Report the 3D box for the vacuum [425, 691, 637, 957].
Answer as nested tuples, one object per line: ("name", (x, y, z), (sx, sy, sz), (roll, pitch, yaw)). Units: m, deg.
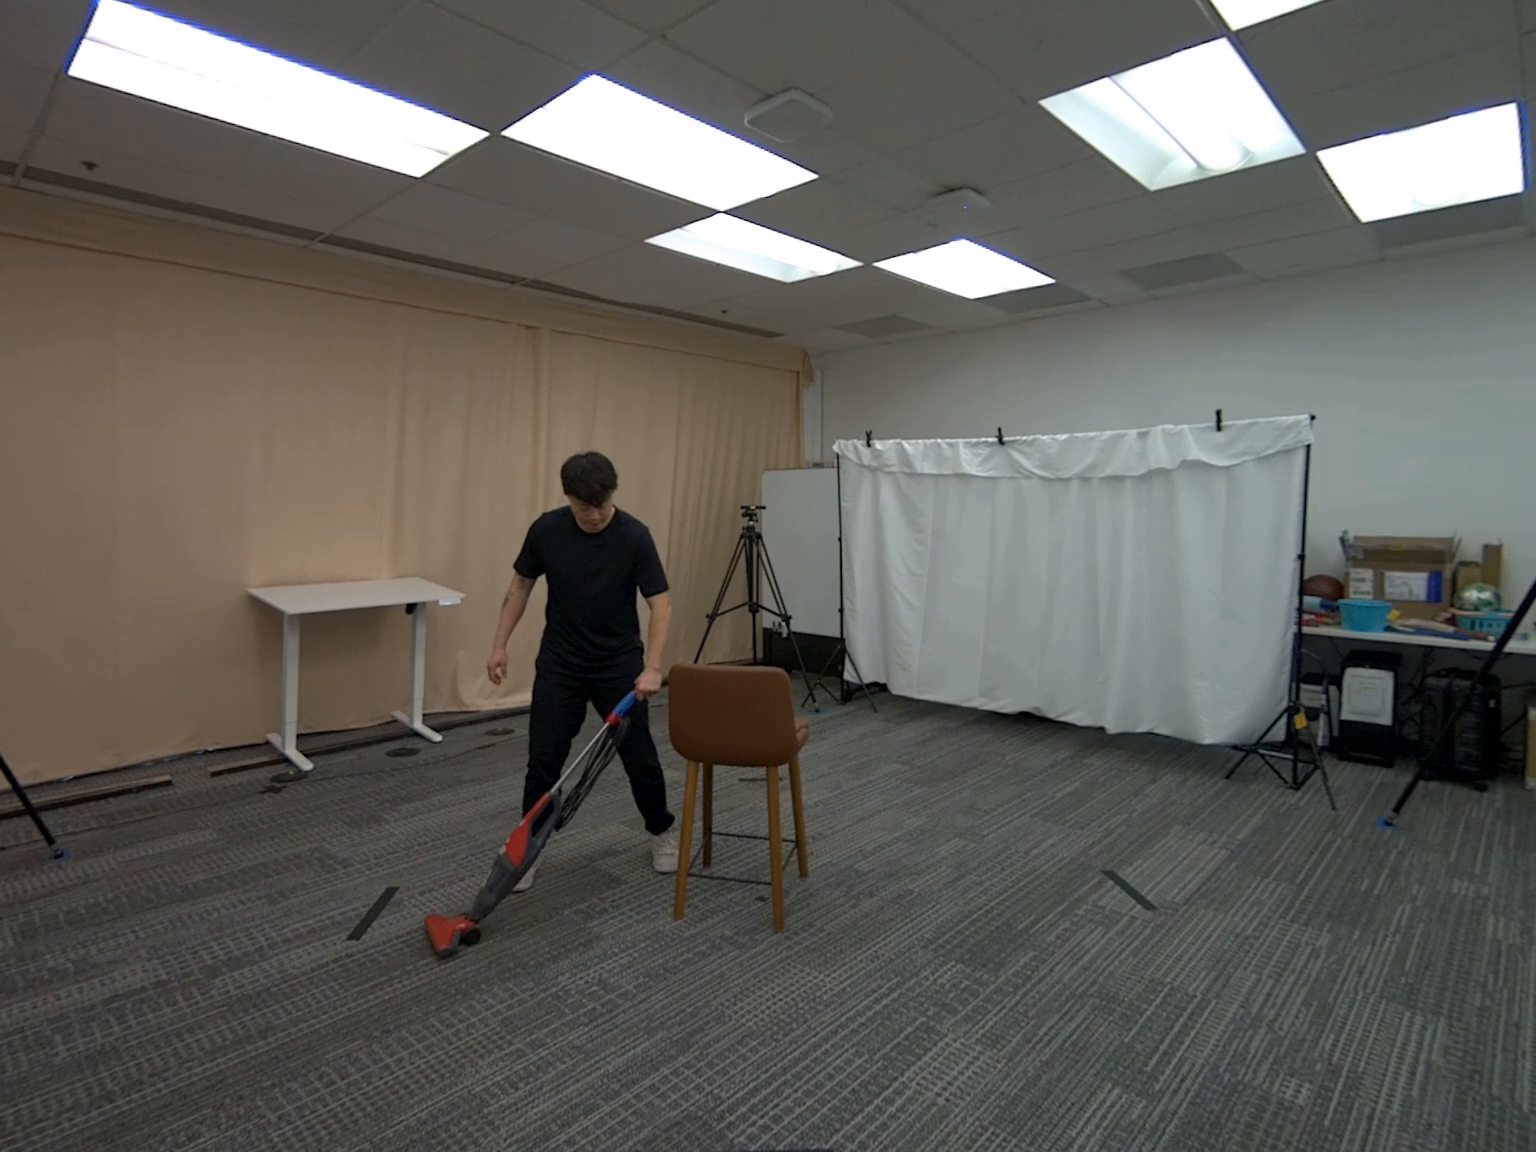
("vacuum", (-0.692, 0.760, 2.882), (0.140, 1.045, 0.260), (49, -22, -26))
